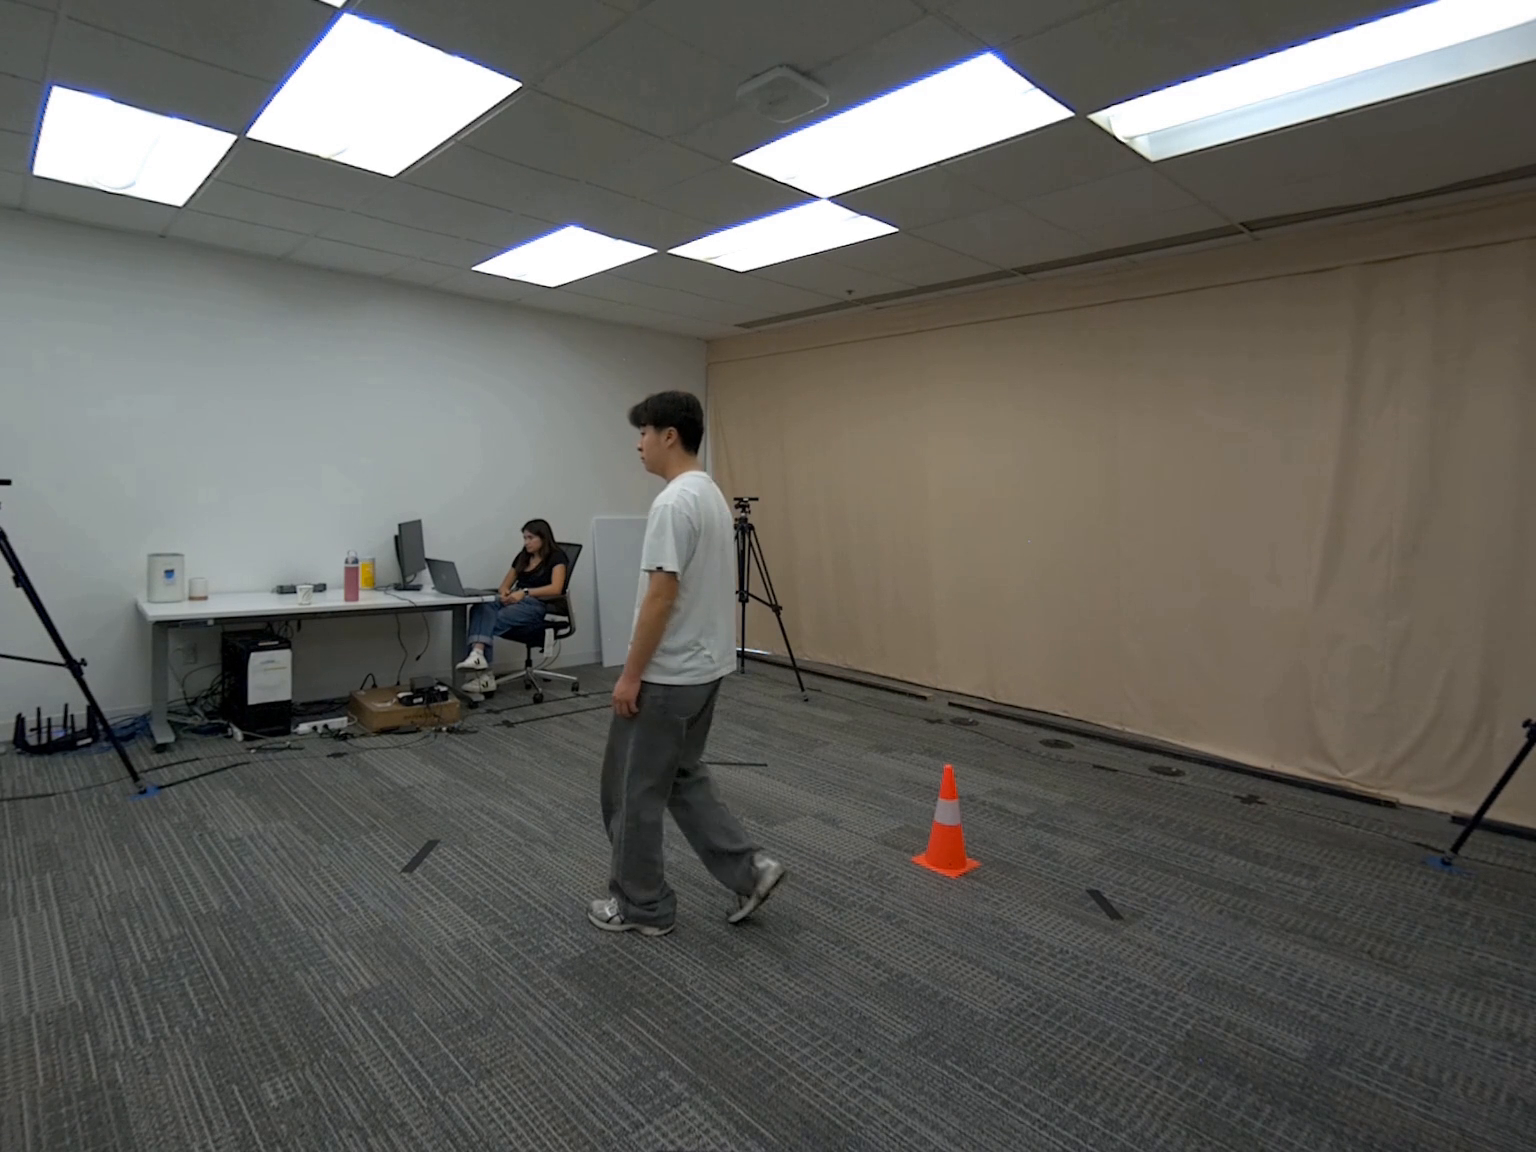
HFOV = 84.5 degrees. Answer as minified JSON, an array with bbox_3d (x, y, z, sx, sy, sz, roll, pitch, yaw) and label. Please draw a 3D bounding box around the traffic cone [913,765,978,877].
[{"bbox_3d":[0.697,0.932,3.263,0.200,0.382,0.209,-1,5,-41],"label":"traffic cone"}]
